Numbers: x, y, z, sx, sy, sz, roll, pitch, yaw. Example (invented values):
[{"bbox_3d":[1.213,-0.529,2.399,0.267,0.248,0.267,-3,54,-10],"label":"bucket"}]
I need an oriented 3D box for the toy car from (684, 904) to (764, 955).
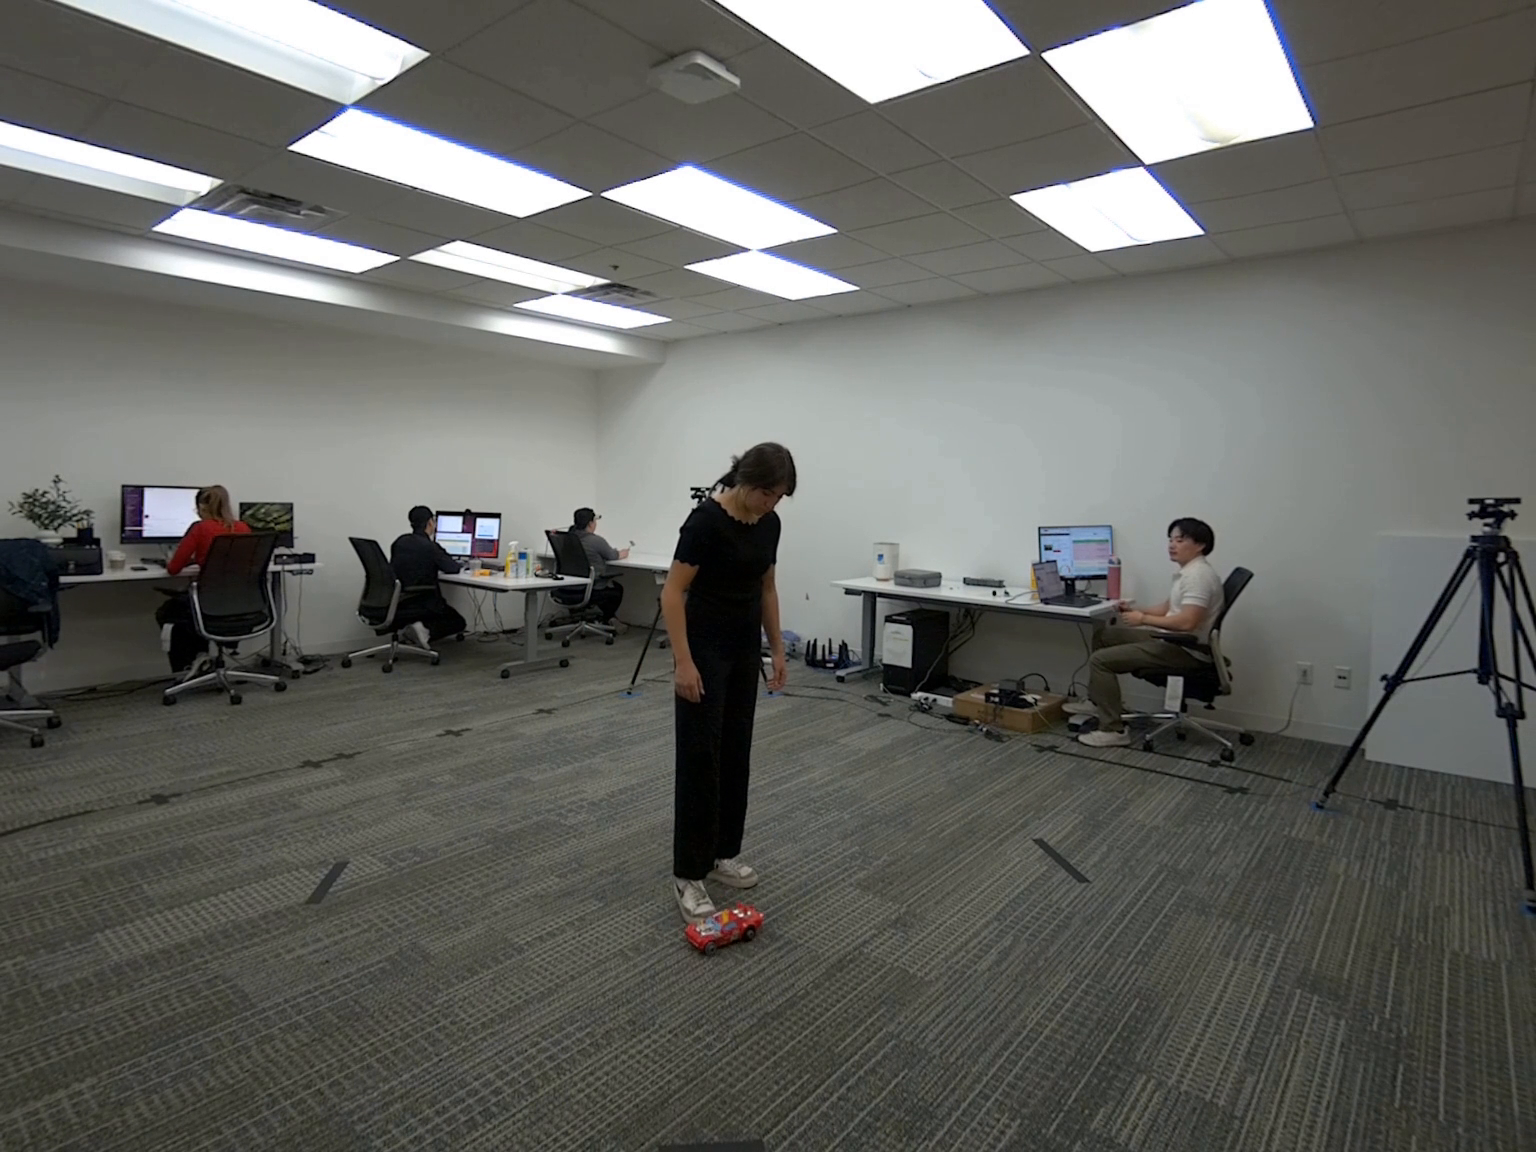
[{"bbox_3d":[-0.140,1.081,2.628,0.249,0.082,0.134,-16,14,-32],"label":"toy car"}]
